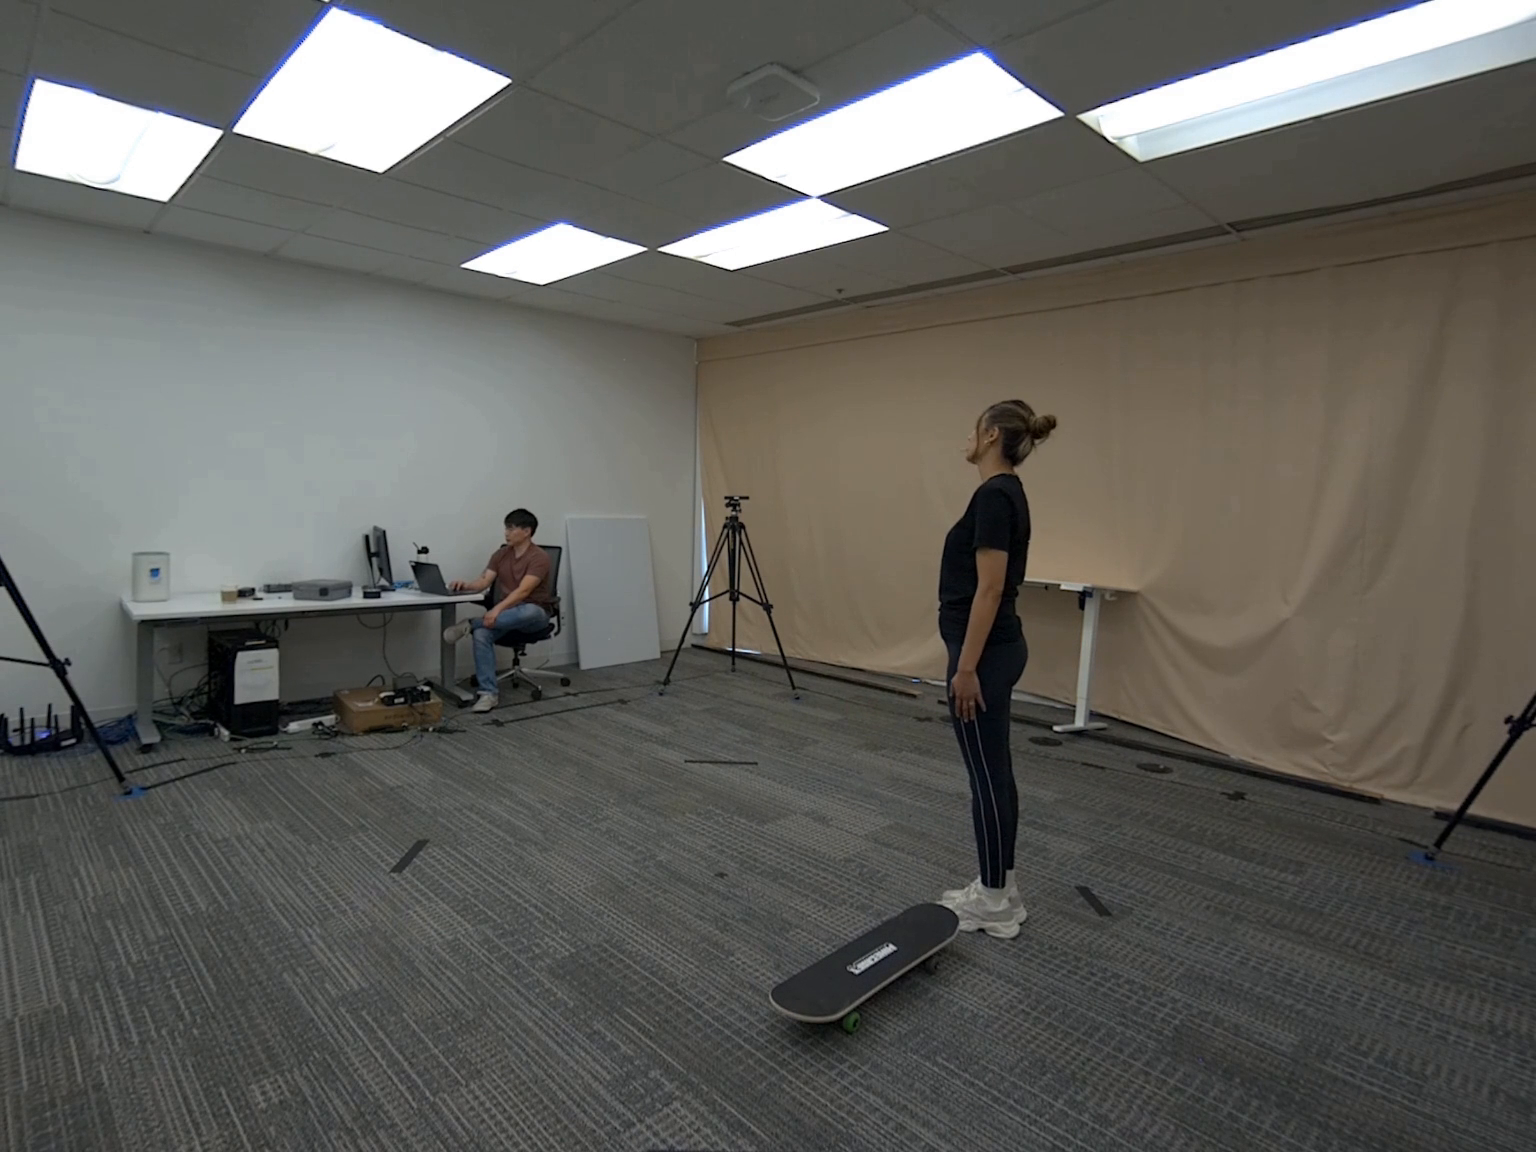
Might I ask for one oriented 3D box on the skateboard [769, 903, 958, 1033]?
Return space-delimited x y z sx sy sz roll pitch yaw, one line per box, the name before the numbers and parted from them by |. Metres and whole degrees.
skateboard | 0.292 1.123 2.398 0.198 0.110 0.768 6 7 43
